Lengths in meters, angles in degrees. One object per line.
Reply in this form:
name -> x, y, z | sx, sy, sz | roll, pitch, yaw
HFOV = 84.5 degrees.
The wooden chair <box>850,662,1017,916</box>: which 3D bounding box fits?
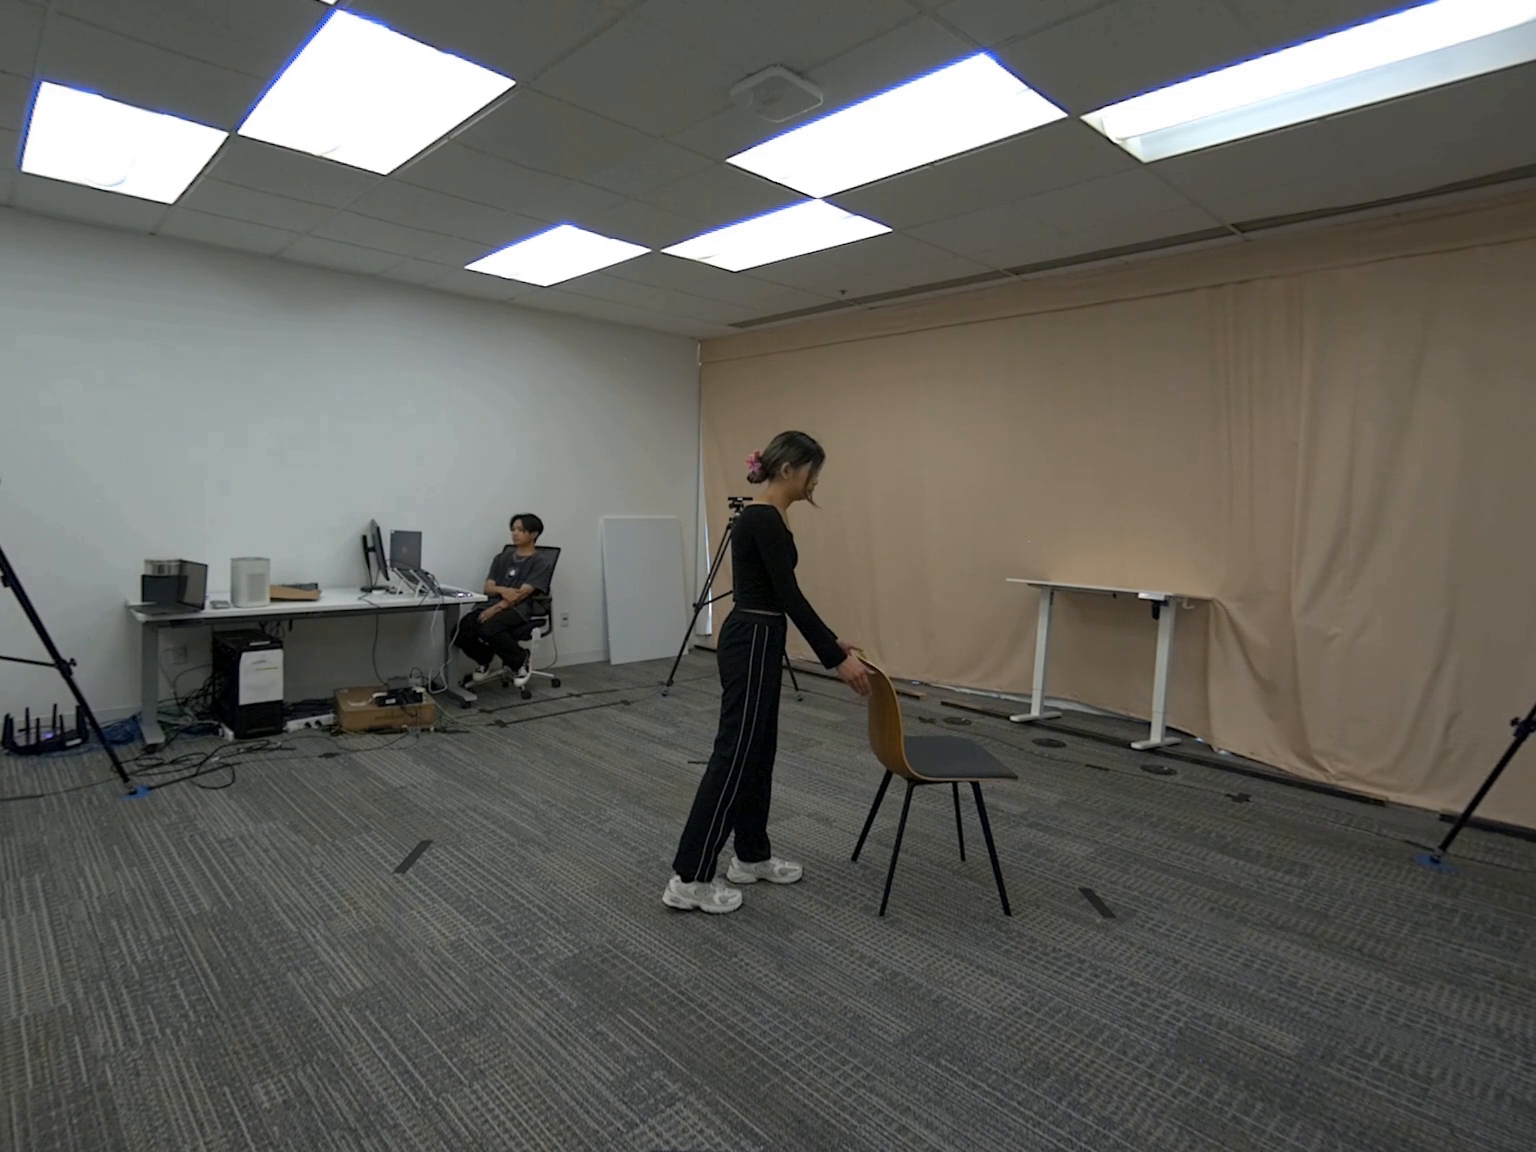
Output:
wooden chair -> 0.587, 0.700, 3.036 | 0.521, 0.875, 0.481 | -3, 3, -5
